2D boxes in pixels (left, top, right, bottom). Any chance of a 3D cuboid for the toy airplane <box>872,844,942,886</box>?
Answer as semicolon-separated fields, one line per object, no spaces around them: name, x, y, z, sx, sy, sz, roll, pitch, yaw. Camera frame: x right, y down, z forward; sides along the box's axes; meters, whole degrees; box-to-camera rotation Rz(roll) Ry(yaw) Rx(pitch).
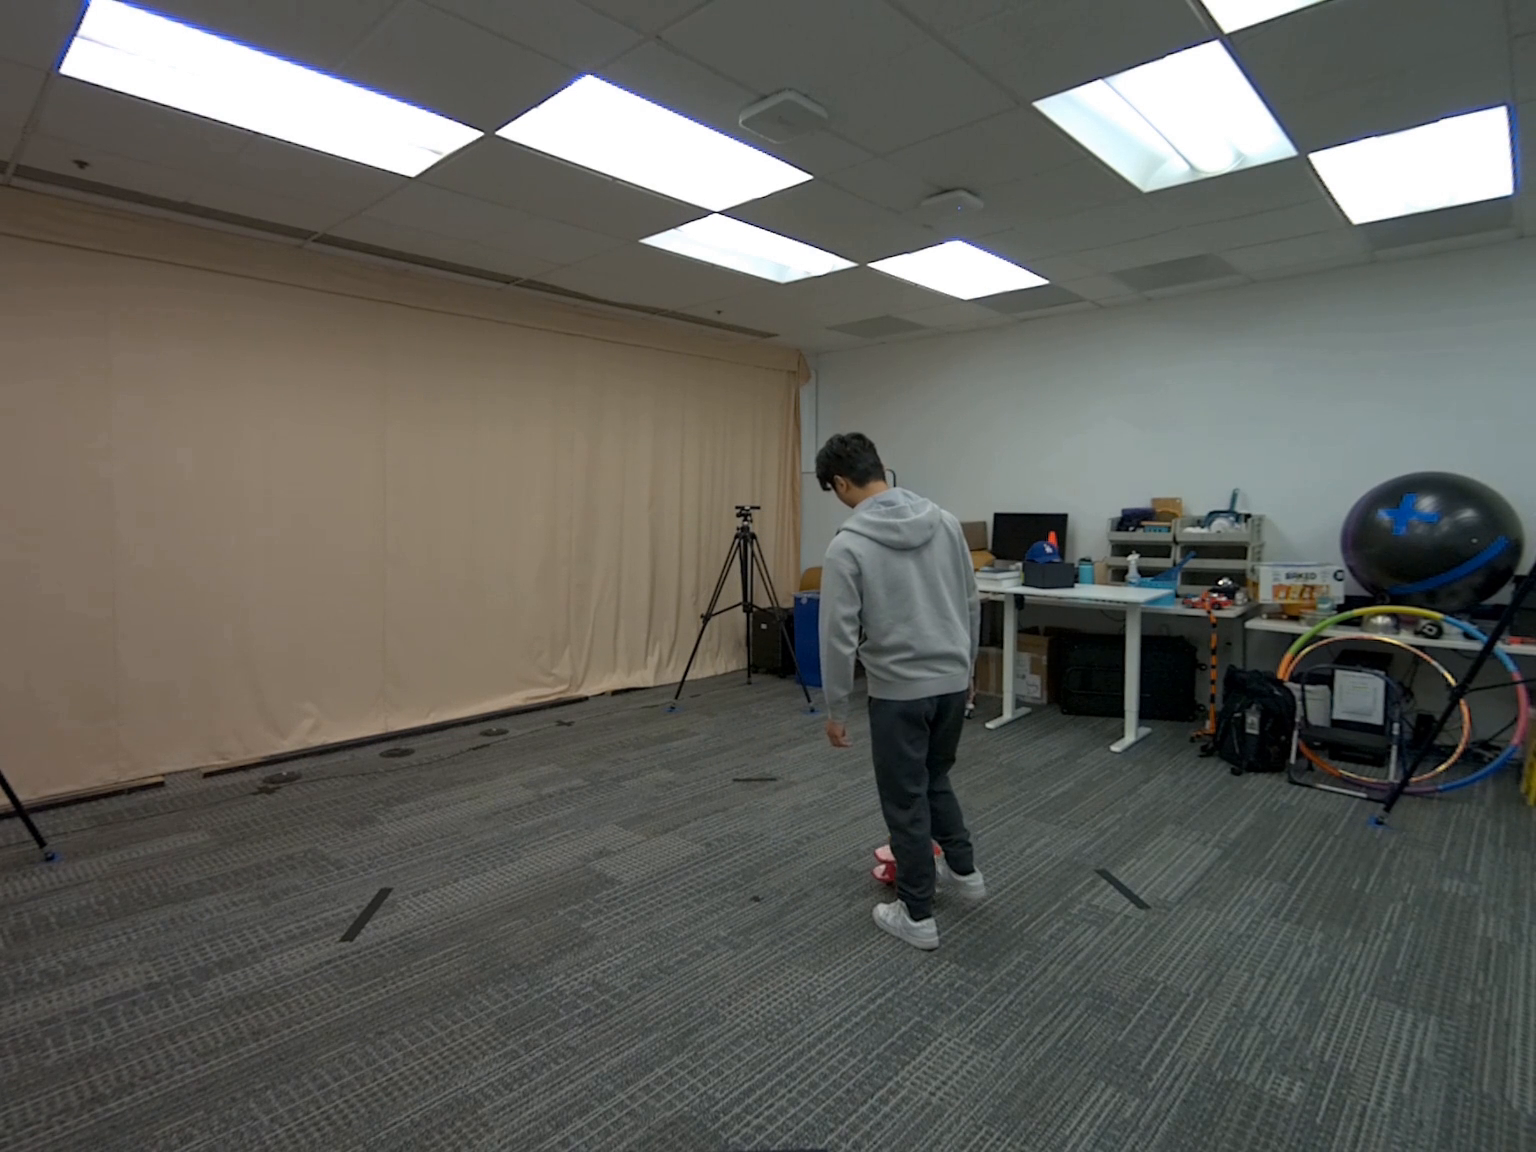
toy airplane;0.535;1.065;3.034;0.268;0.156;0.243;3;4;44
